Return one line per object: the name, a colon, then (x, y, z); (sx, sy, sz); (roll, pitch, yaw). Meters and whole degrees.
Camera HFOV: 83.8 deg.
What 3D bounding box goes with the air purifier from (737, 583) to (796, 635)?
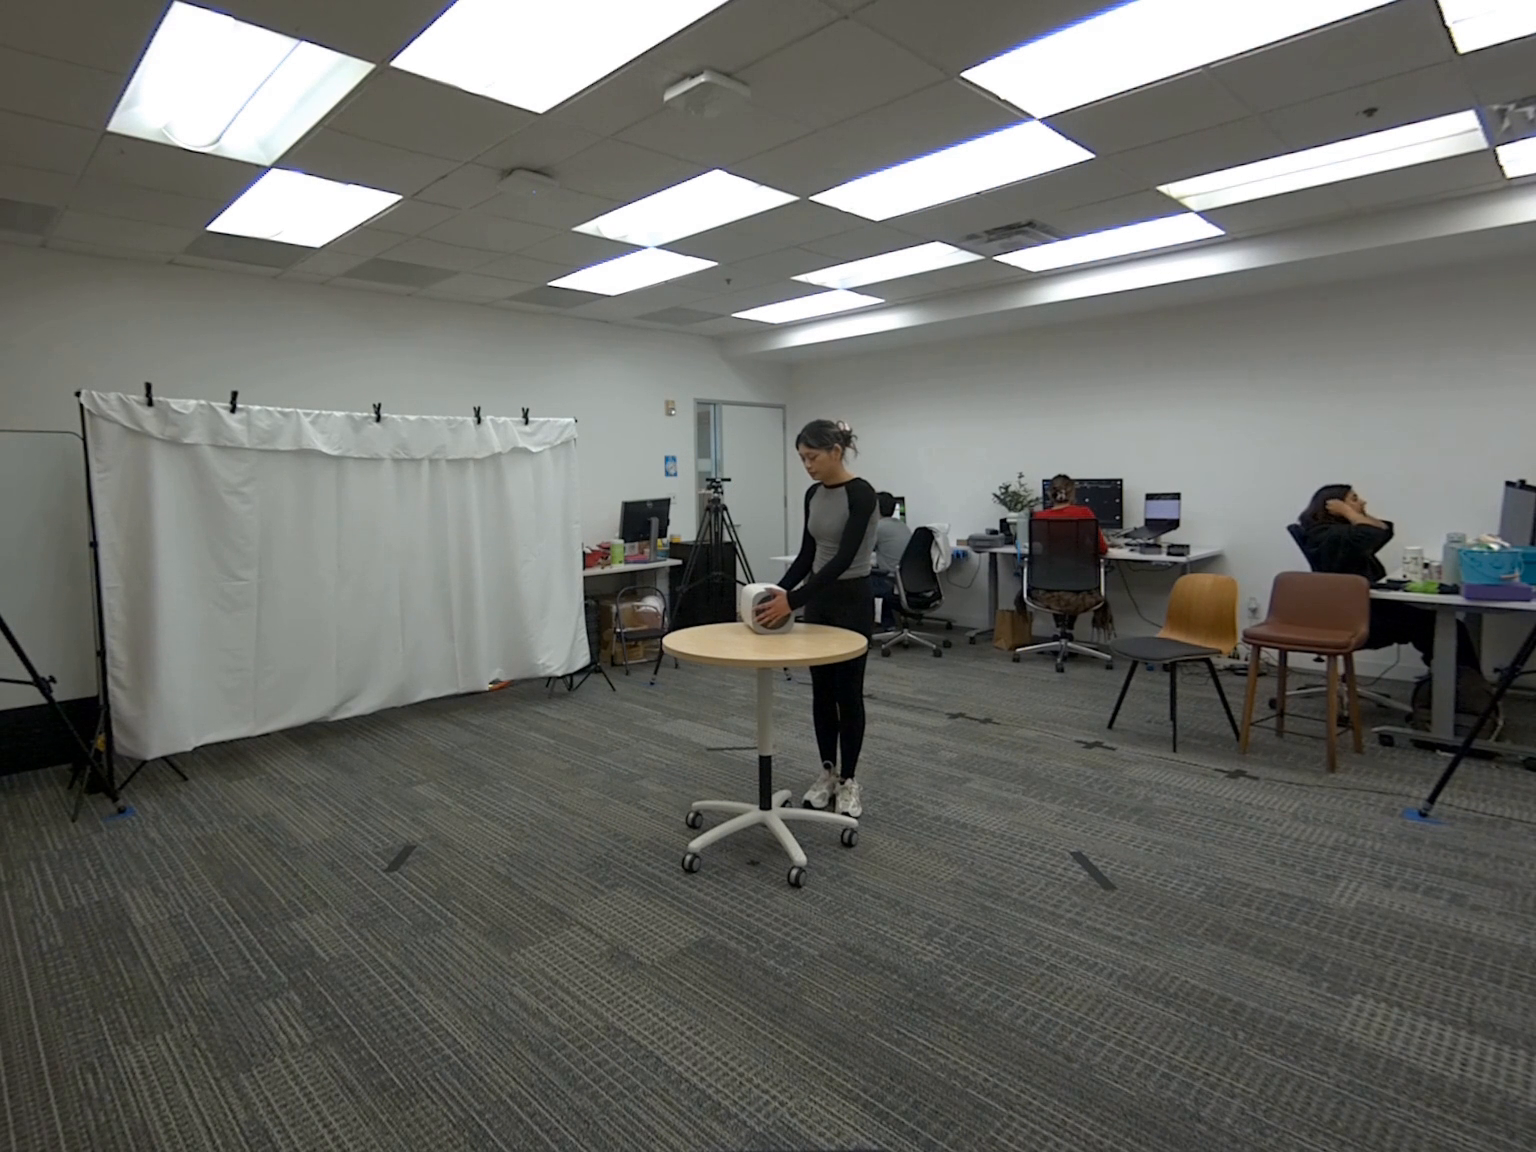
air purifier: (-0.011, 0.125, 3.417); (0.169, 0.171, 0.269); (0, 5, -10)
